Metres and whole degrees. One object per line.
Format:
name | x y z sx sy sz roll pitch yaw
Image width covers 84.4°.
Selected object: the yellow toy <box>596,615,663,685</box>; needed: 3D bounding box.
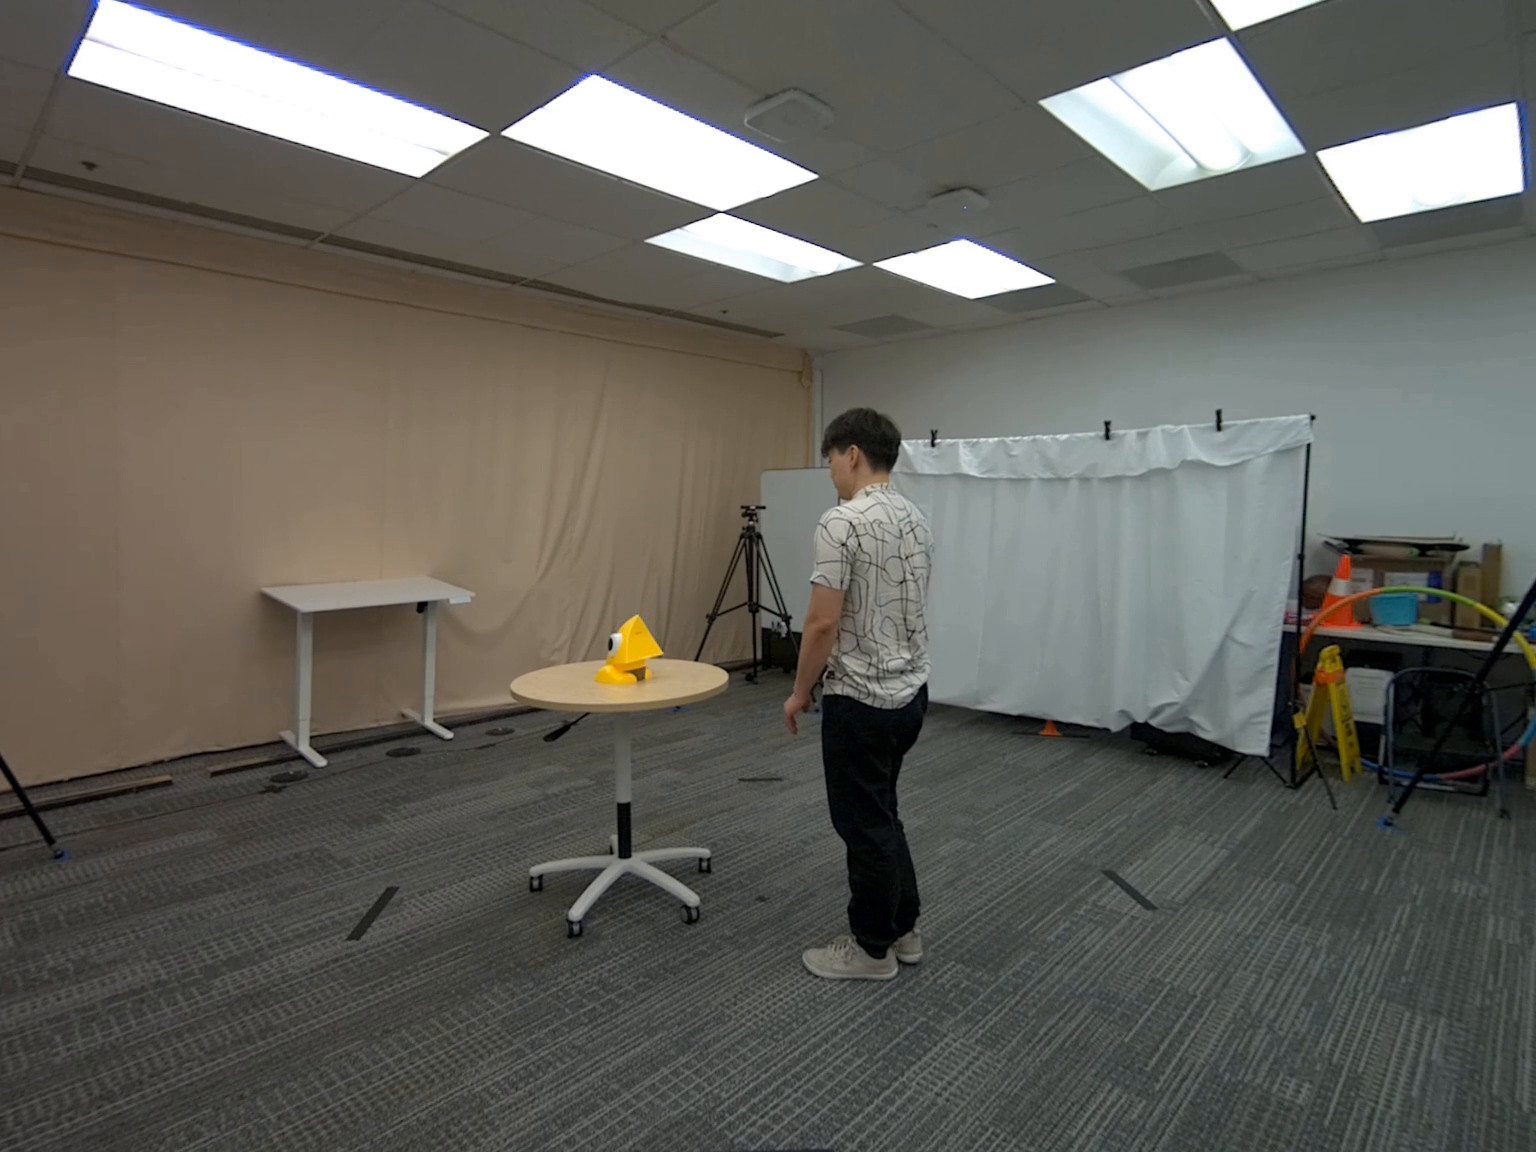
yellow toy | -0.505 0.253 2.975 0.199 0.230 0.199 1 5 31
